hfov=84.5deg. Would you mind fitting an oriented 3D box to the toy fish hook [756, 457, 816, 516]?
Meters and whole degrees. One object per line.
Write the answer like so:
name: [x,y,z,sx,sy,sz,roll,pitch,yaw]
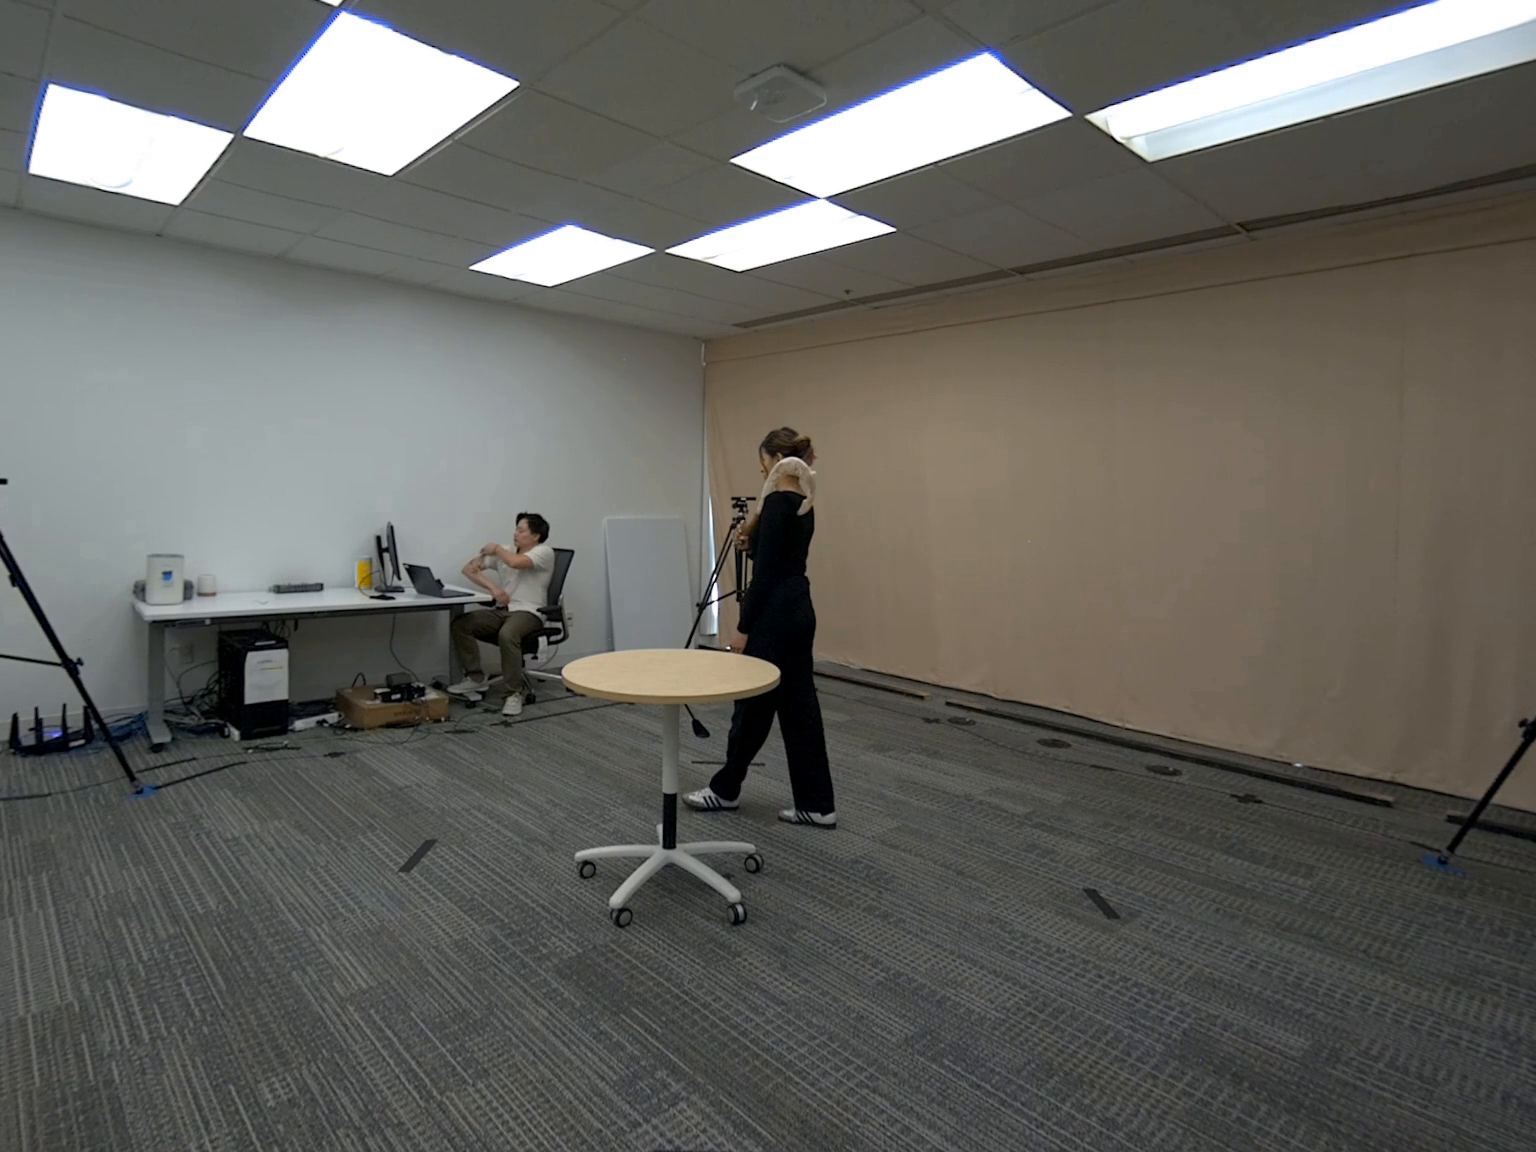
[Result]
toy fish hook: [0.018,-0.272,3.540,0.228,0.504,0.047,44,29,16]
